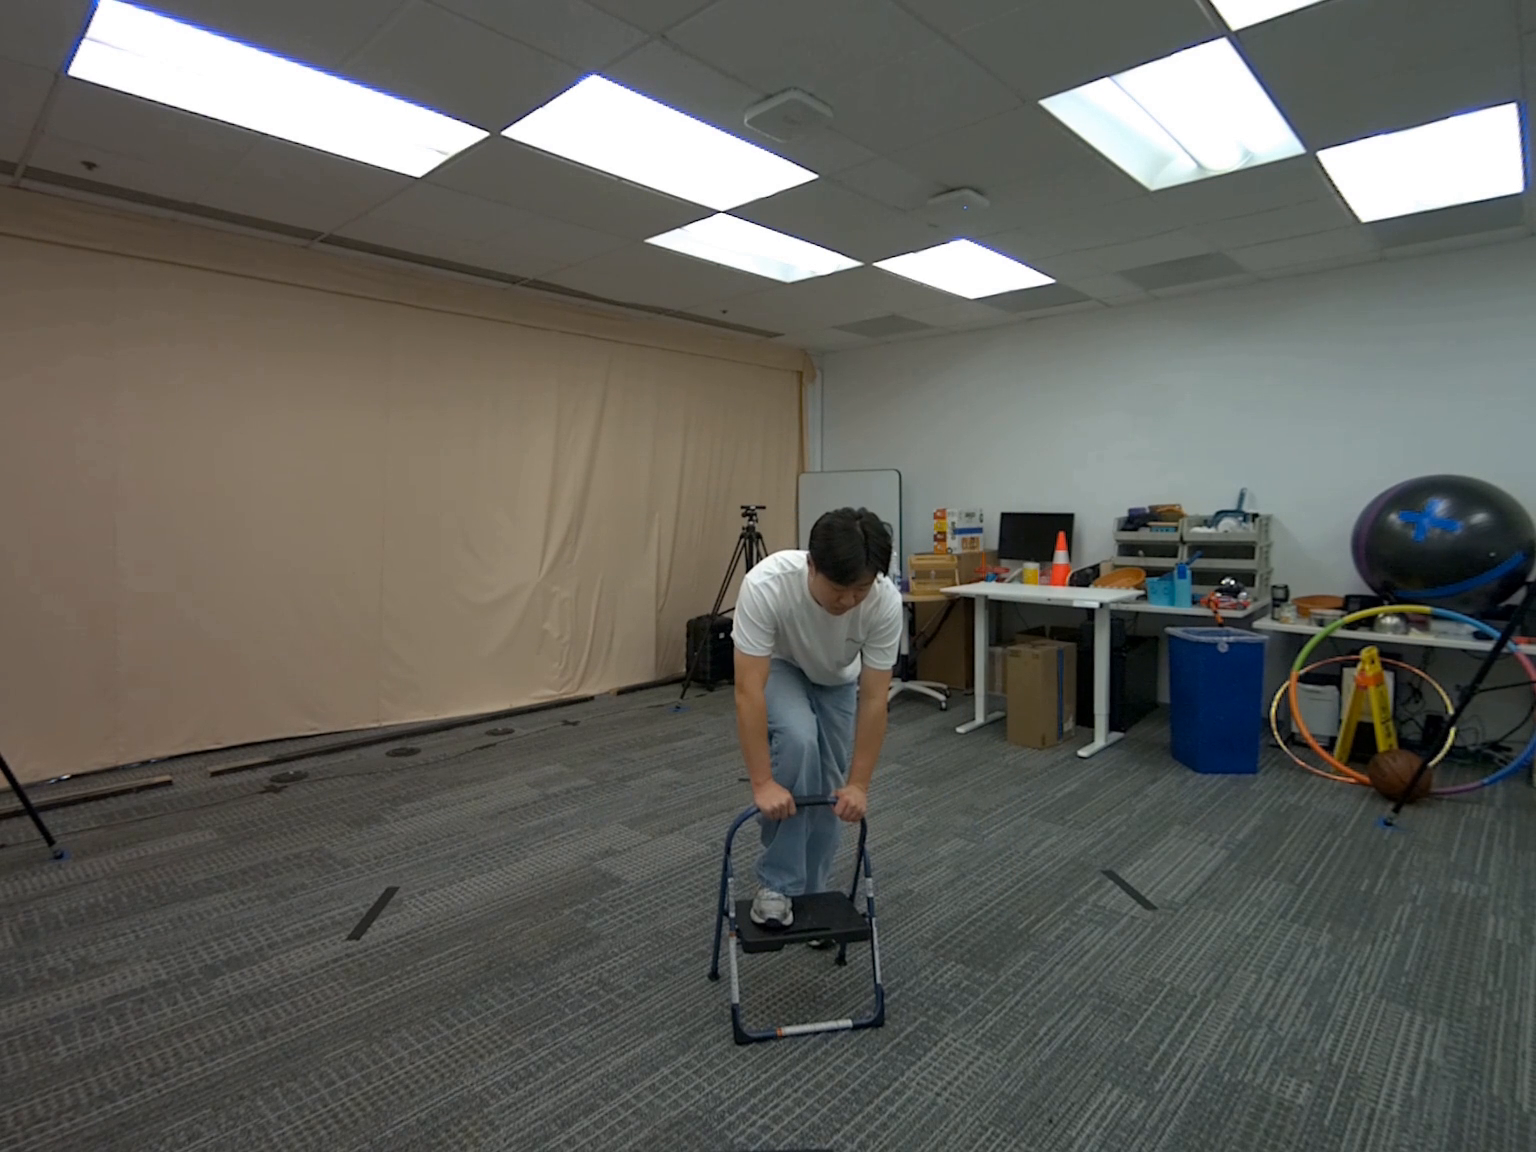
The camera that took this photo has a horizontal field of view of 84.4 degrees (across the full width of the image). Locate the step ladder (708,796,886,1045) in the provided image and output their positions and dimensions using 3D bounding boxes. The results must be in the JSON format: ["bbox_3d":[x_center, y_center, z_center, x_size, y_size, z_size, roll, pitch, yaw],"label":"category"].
[{"bbox_3d":[0.068,0.897,2.358,0.425,0.604,0.355,-2,4,-13],"label":"step ladder"}]
